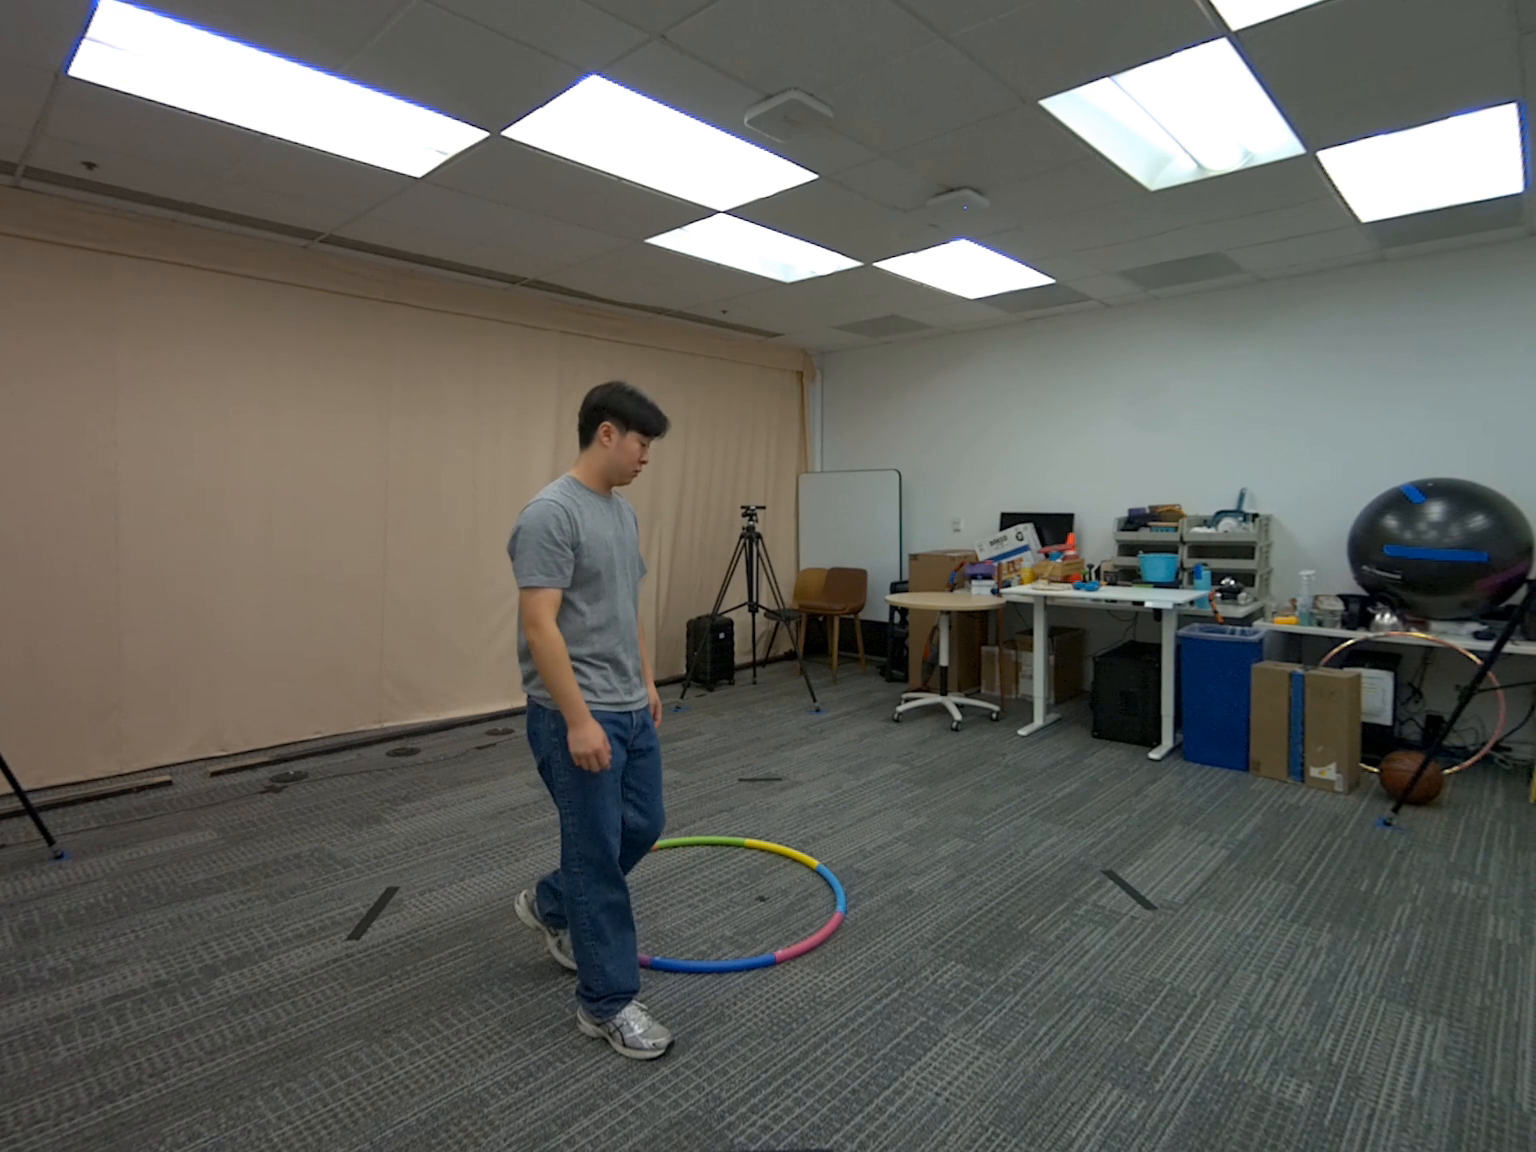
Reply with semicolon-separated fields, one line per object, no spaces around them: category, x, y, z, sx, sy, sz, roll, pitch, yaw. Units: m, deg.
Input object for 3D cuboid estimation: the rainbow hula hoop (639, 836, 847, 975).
rainbow hula hoop;-0.222;1.113;2.987;0.978;0.035;0.982;-1;5;-2
